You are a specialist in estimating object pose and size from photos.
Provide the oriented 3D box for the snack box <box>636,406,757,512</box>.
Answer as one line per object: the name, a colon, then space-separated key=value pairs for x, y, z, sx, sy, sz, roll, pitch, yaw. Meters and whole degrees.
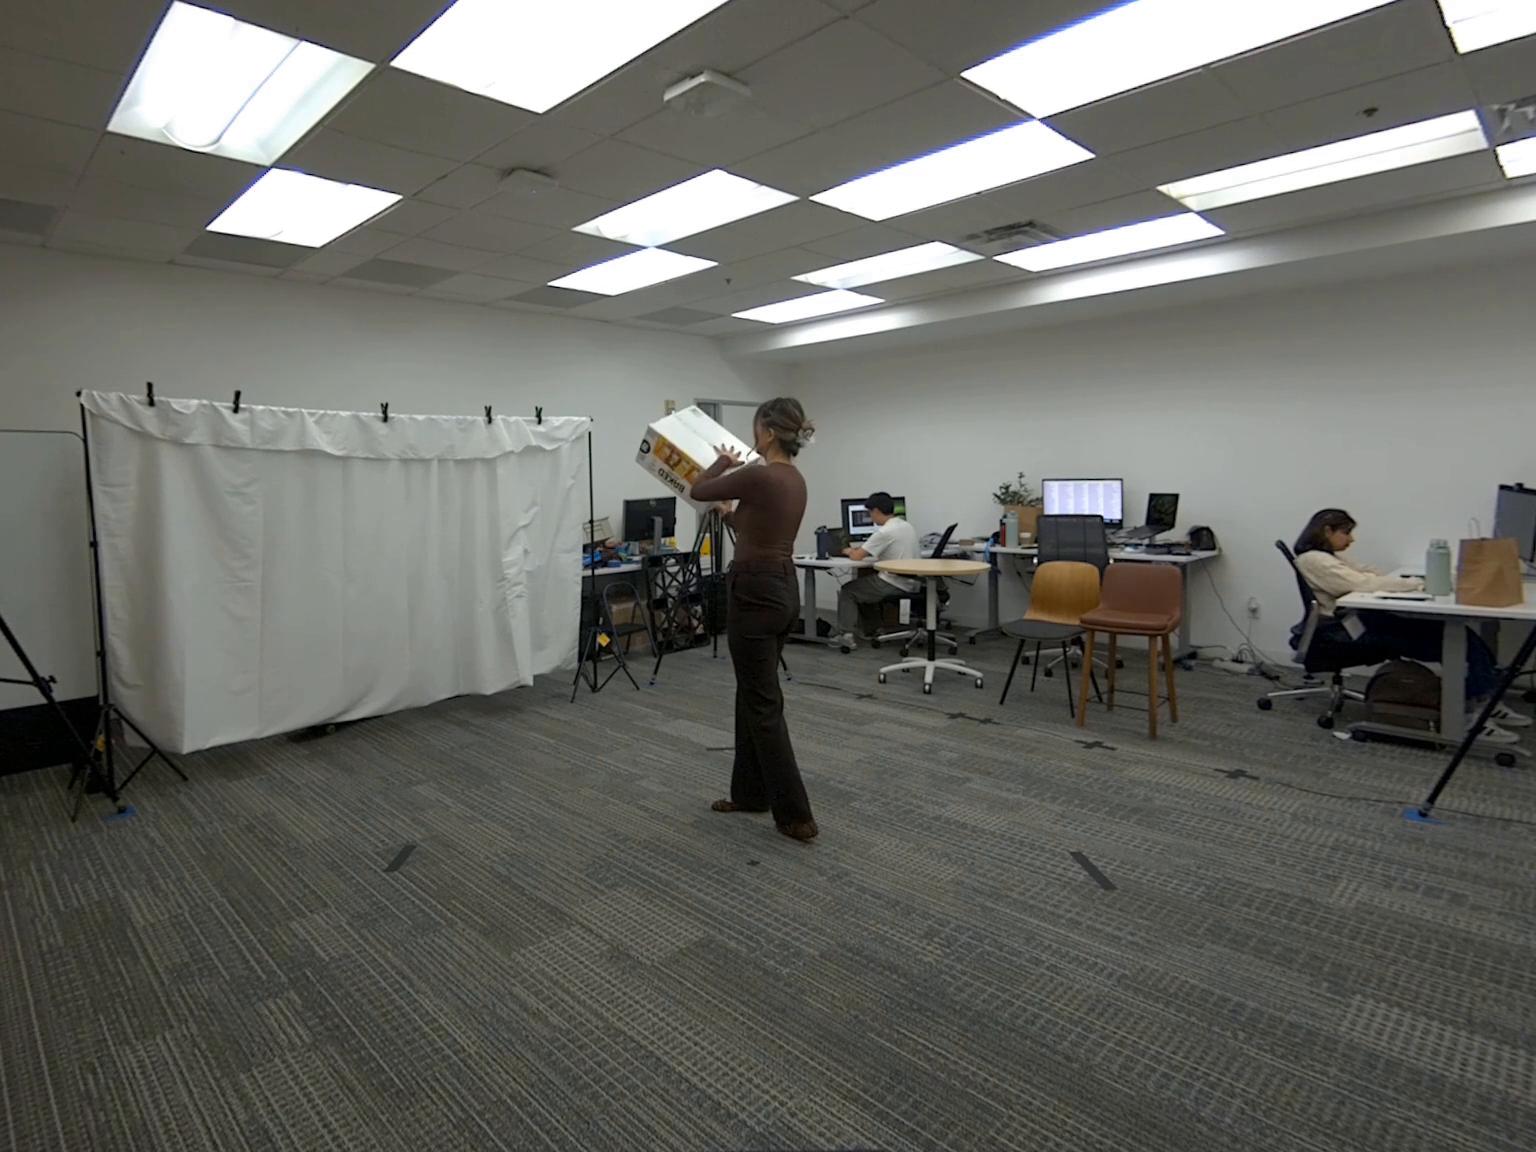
snack box: x=-0.306 y=-0.523 z=3.775 sx=0.413 sy=0.203 sz=0.337 roll=38 pitch=39 yaw=14
